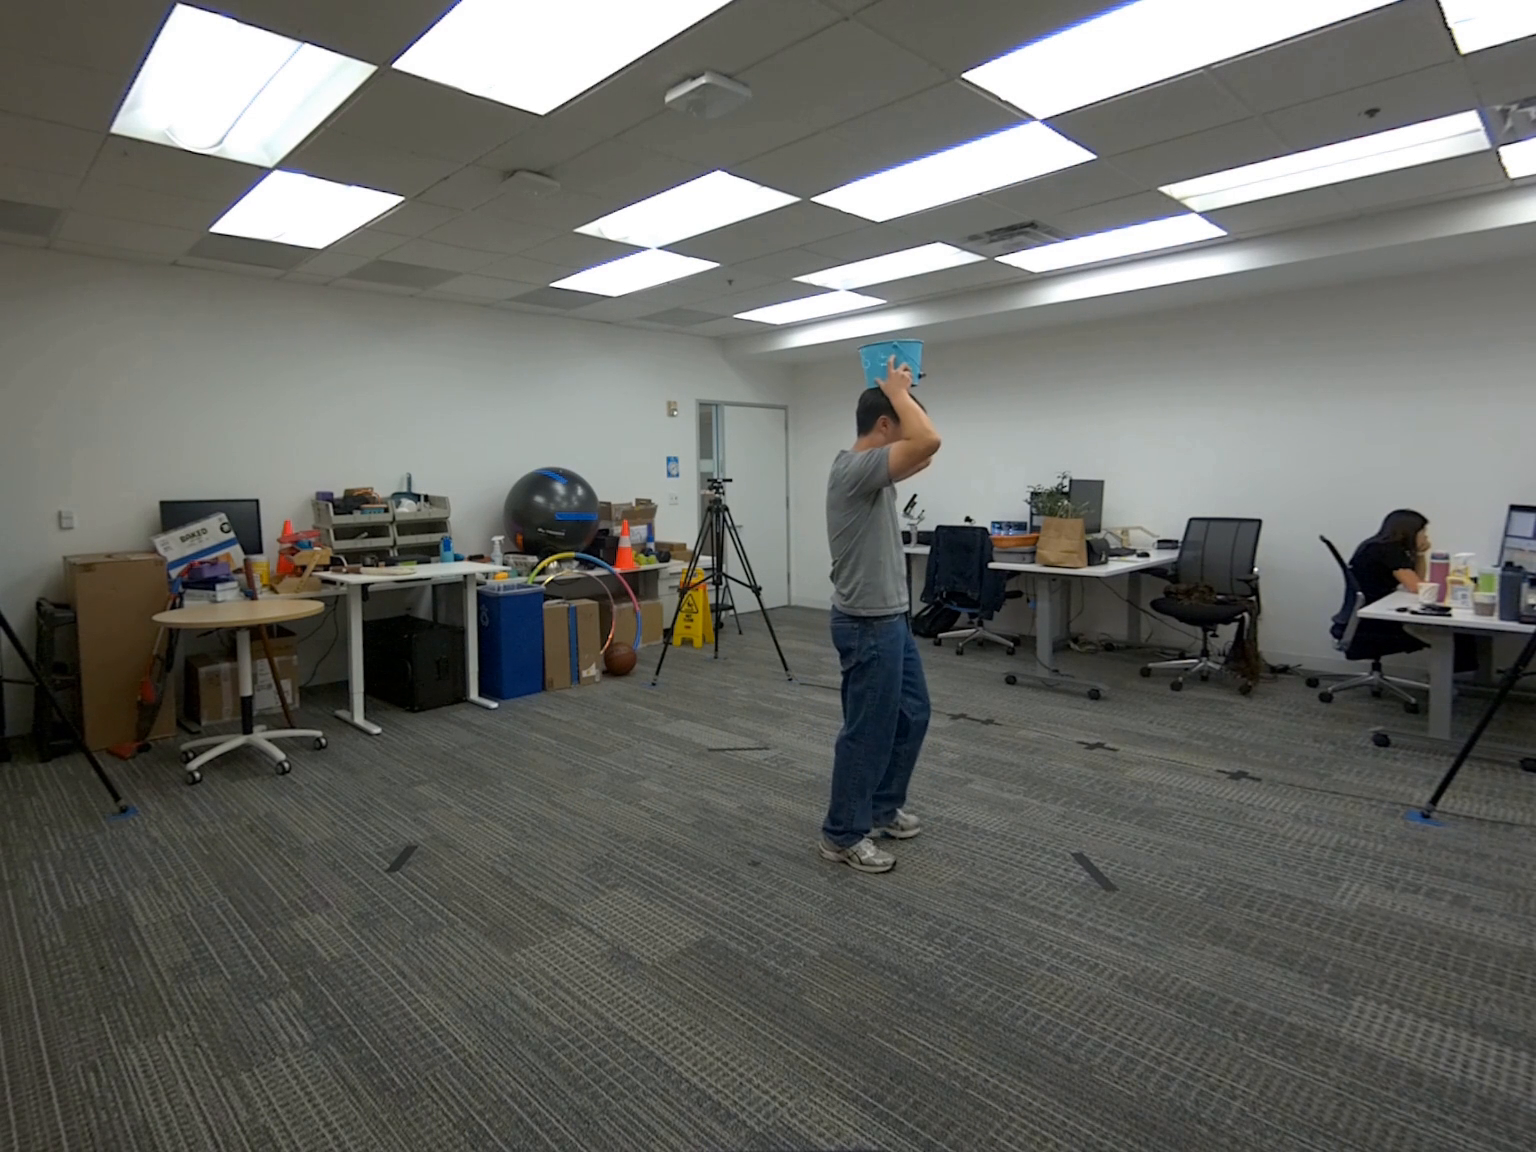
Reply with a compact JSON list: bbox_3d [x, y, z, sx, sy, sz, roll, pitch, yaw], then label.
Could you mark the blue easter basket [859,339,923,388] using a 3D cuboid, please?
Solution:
[{"bbox_3d":[0.468,-0.762,3.083,0.243,0.155,0.245,-4,5,-1],"label":"blue easter basket"}]
